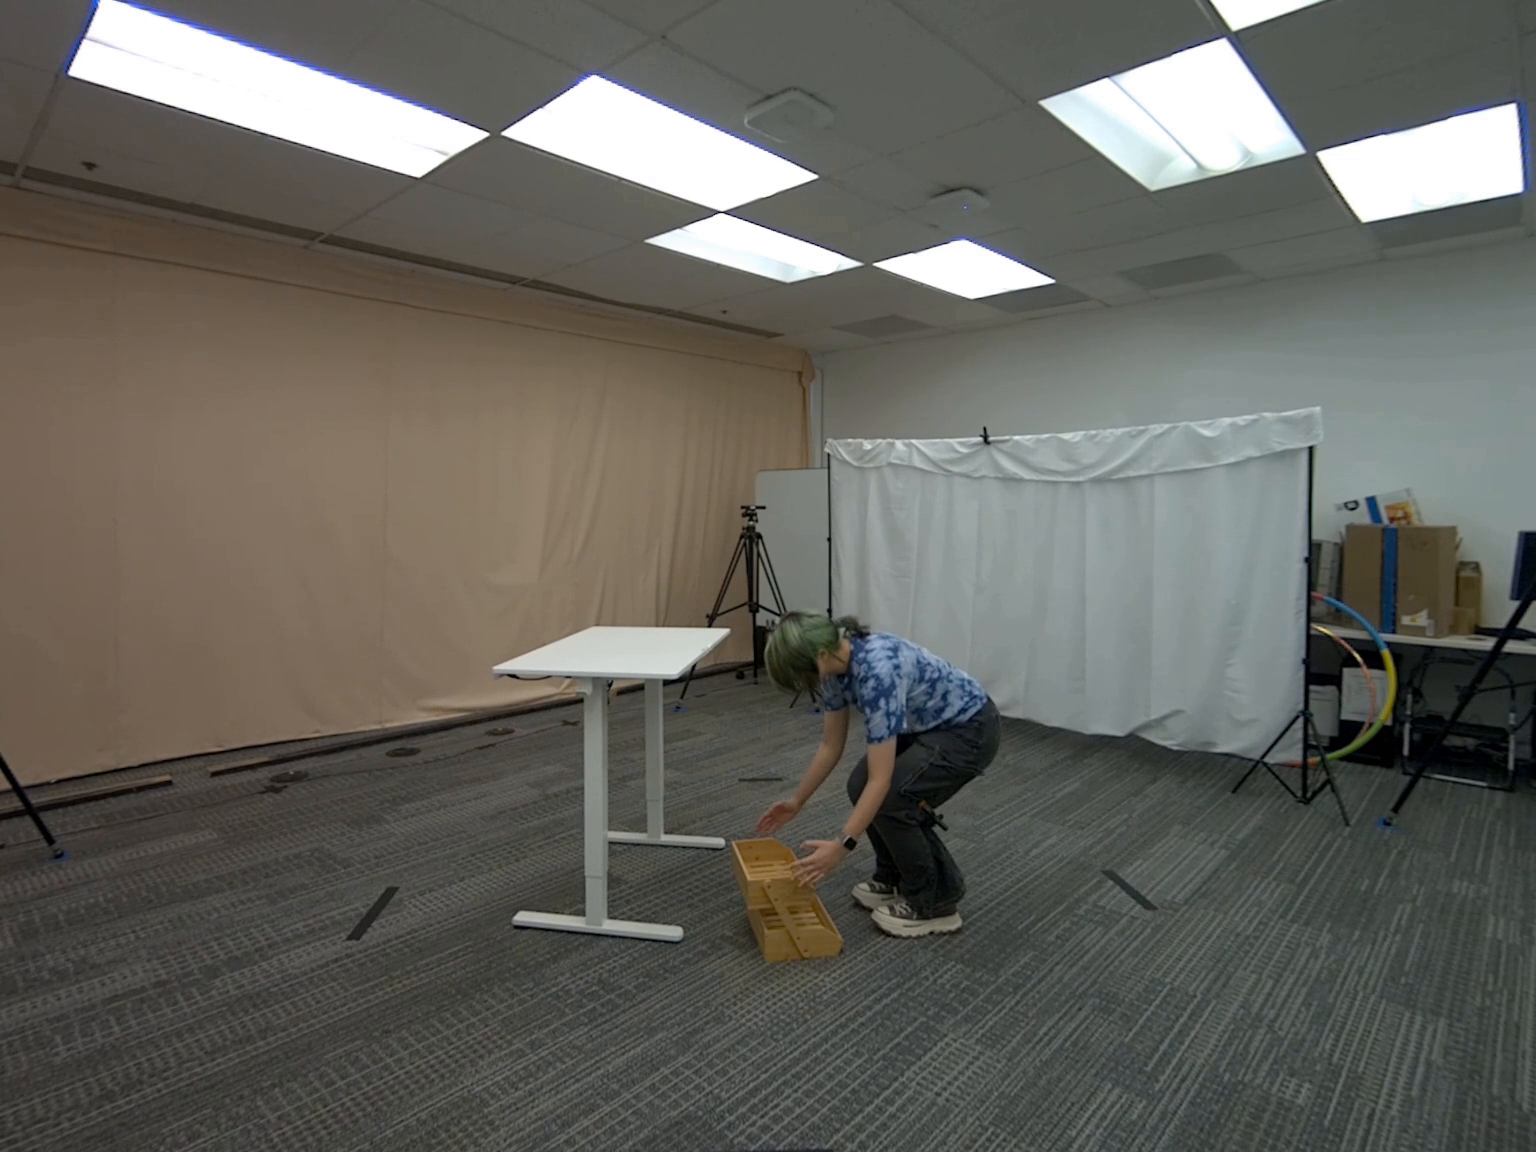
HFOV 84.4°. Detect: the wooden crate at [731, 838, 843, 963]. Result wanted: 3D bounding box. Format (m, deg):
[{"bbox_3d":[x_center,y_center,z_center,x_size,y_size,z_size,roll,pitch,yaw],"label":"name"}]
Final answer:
[{"bbox_3d":[0.057,1.039,2.724,0.298,0.273,0.329,-2,4,-12],"label":"wooden crate"}]
